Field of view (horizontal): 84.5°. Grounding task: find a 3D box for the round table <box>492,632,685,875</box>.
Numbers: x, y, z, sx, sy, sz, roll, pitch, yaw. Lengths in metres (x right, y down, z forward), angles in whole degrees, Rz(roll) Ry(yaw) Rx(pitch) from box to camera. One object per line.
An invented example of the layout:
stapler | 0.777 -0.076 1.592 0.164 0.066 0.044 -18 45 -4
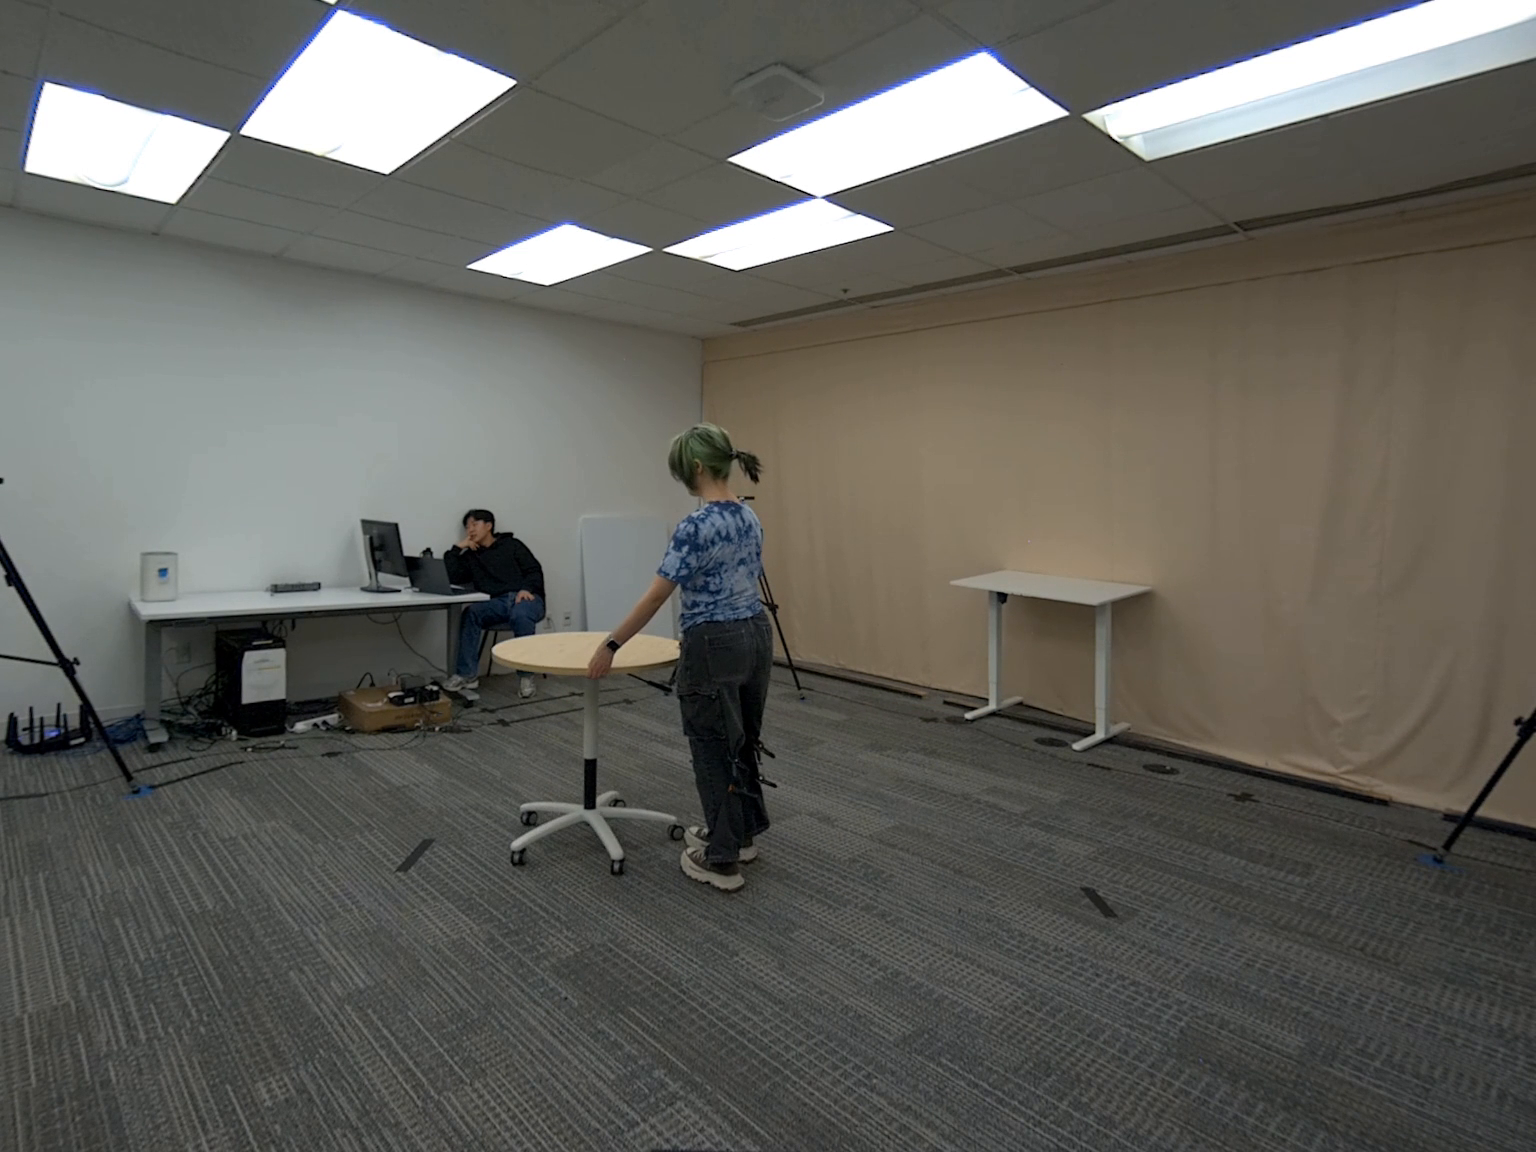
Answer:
round table | -0.704 0.679 3.353 0.763 0.792 0.766 1 4 -1
